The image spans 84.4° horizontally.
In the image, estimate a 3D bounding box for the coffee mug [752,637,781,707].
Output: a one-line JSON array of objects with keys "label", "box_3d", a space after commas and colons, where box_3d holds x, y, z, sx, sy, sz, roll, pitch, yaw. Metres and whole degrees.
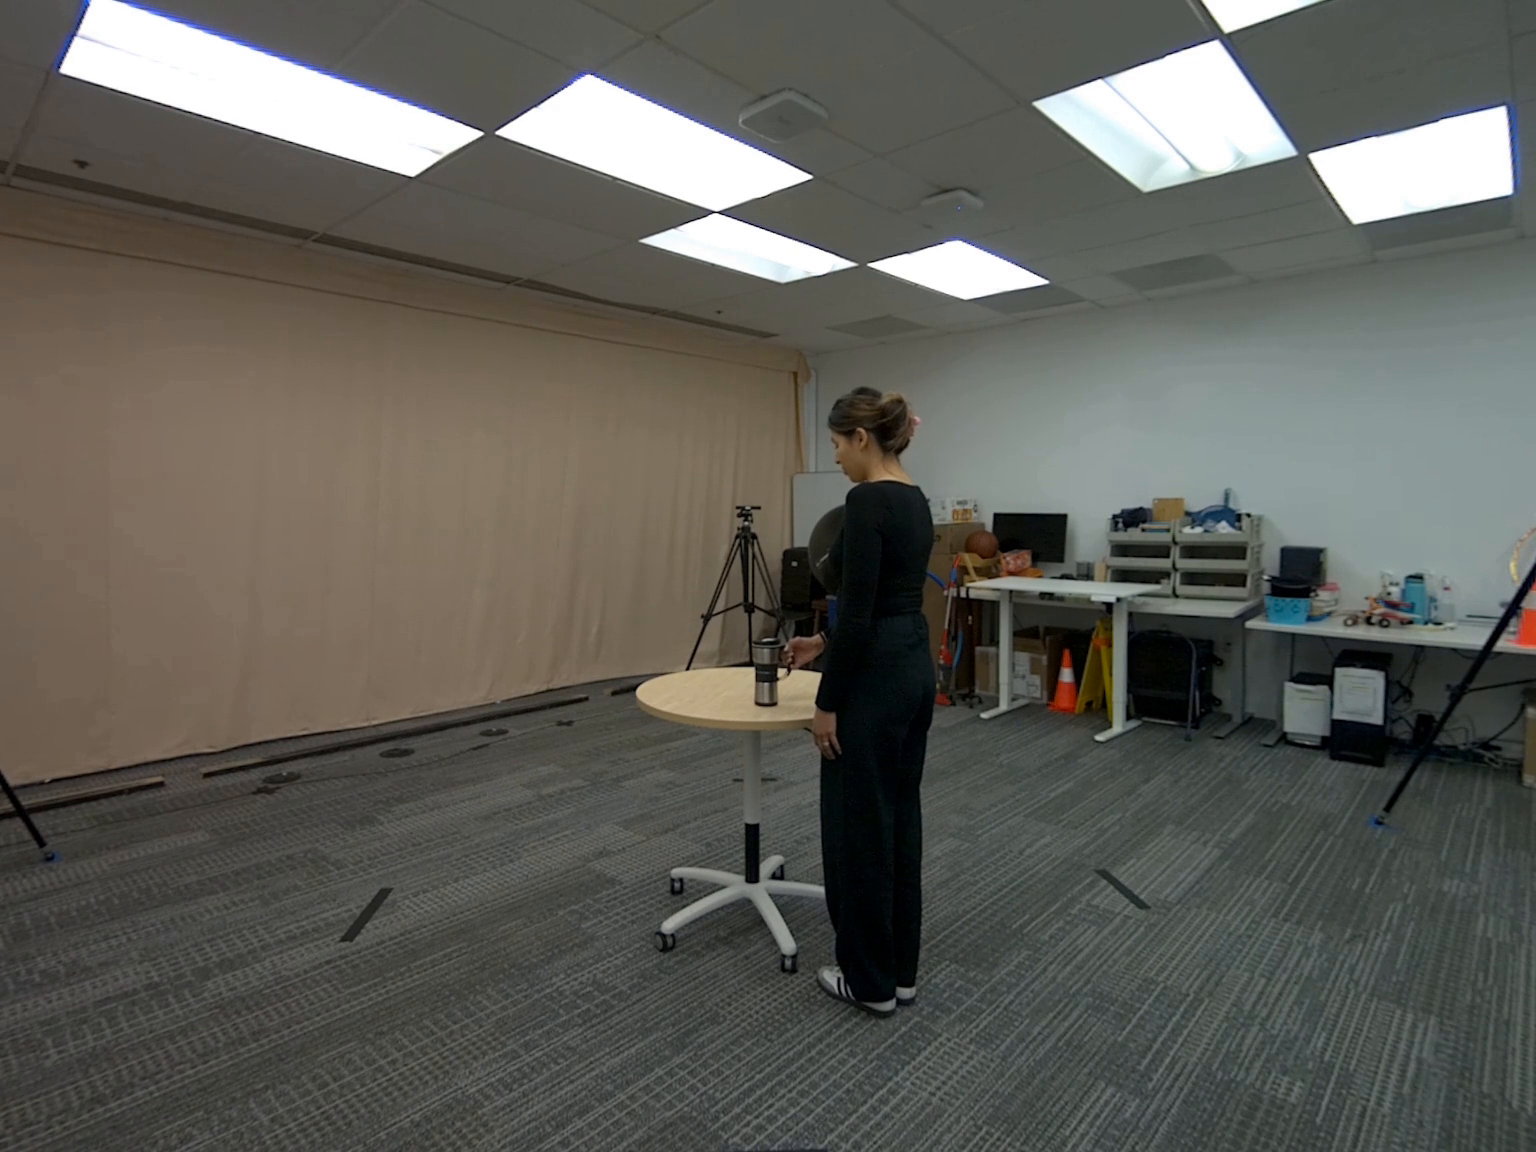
[{"label": "coffee mug", "box_3d": [0.016, 0.299, 2.570, 0.126, 0.203, 0.085, 1, -1, 44]}]
